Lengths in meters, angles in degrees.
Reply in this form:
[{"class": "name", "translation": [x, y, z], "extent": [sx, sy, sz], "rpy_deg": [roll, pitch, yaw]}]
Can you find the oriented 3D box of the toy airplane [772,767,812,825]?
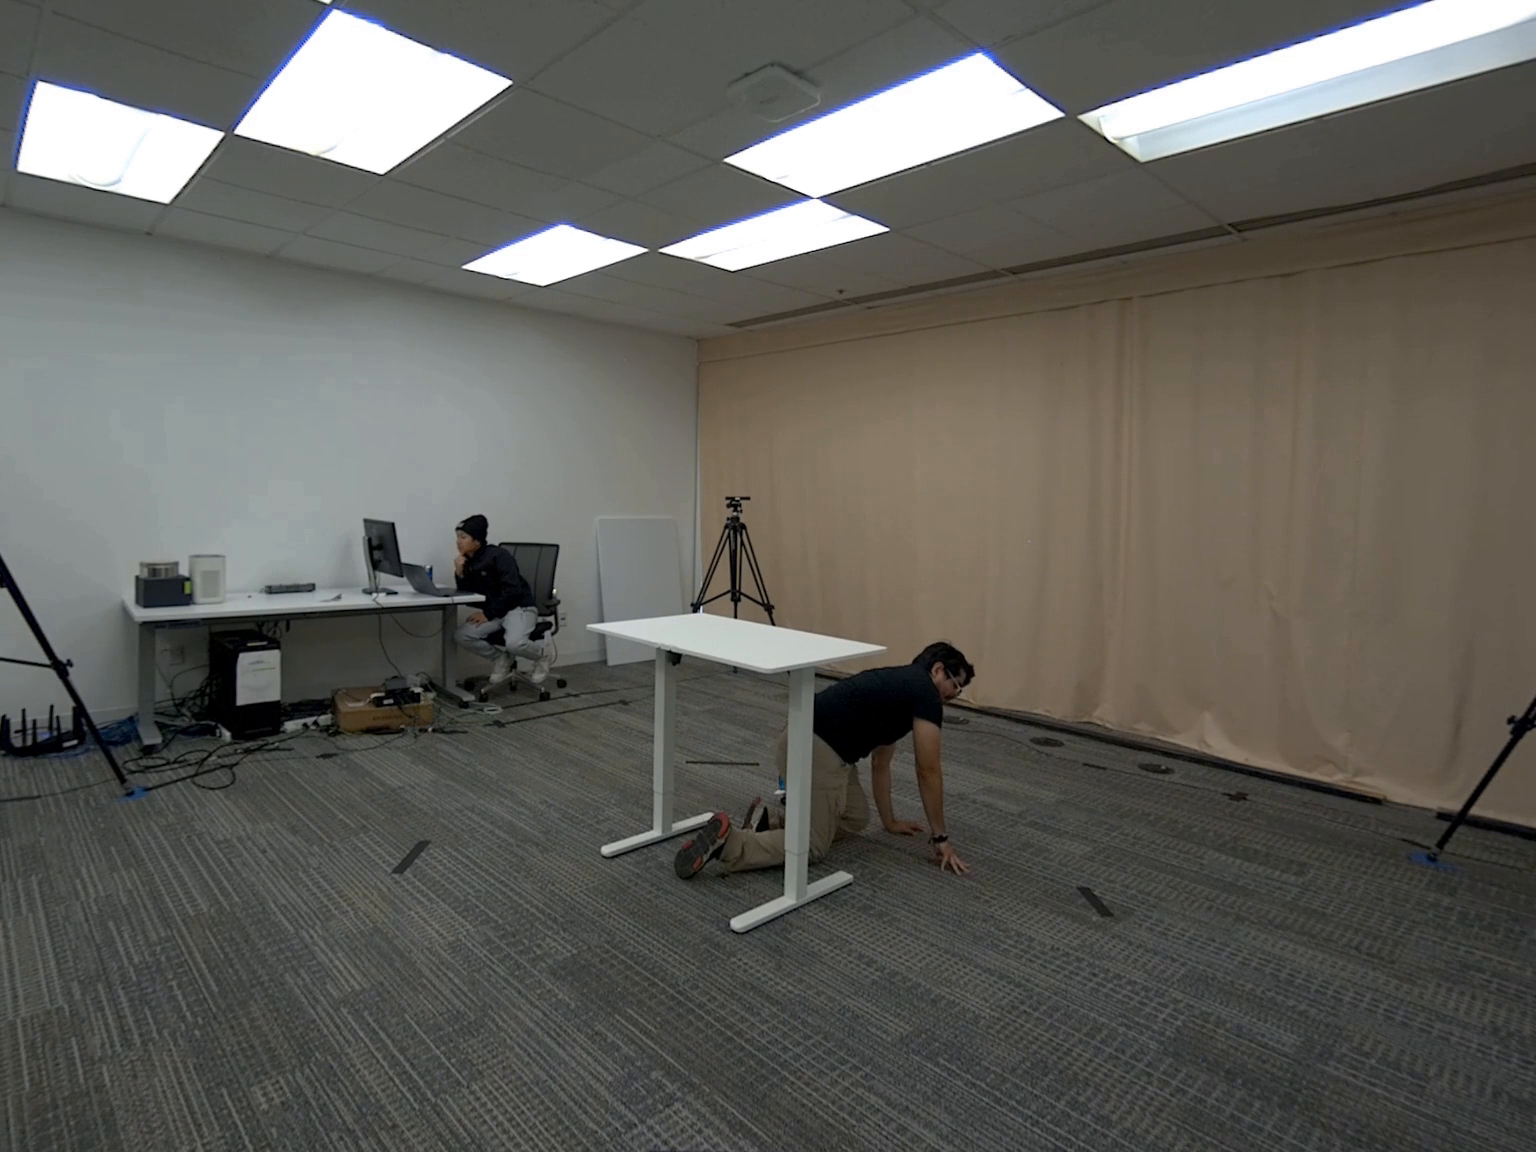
[{"class": "toy airplane", "translation": [0.152, 0.989, 3.814], "extent": [0.260, 0.156, 0.251], "rpy_deg": [3, 5, 3]}]
